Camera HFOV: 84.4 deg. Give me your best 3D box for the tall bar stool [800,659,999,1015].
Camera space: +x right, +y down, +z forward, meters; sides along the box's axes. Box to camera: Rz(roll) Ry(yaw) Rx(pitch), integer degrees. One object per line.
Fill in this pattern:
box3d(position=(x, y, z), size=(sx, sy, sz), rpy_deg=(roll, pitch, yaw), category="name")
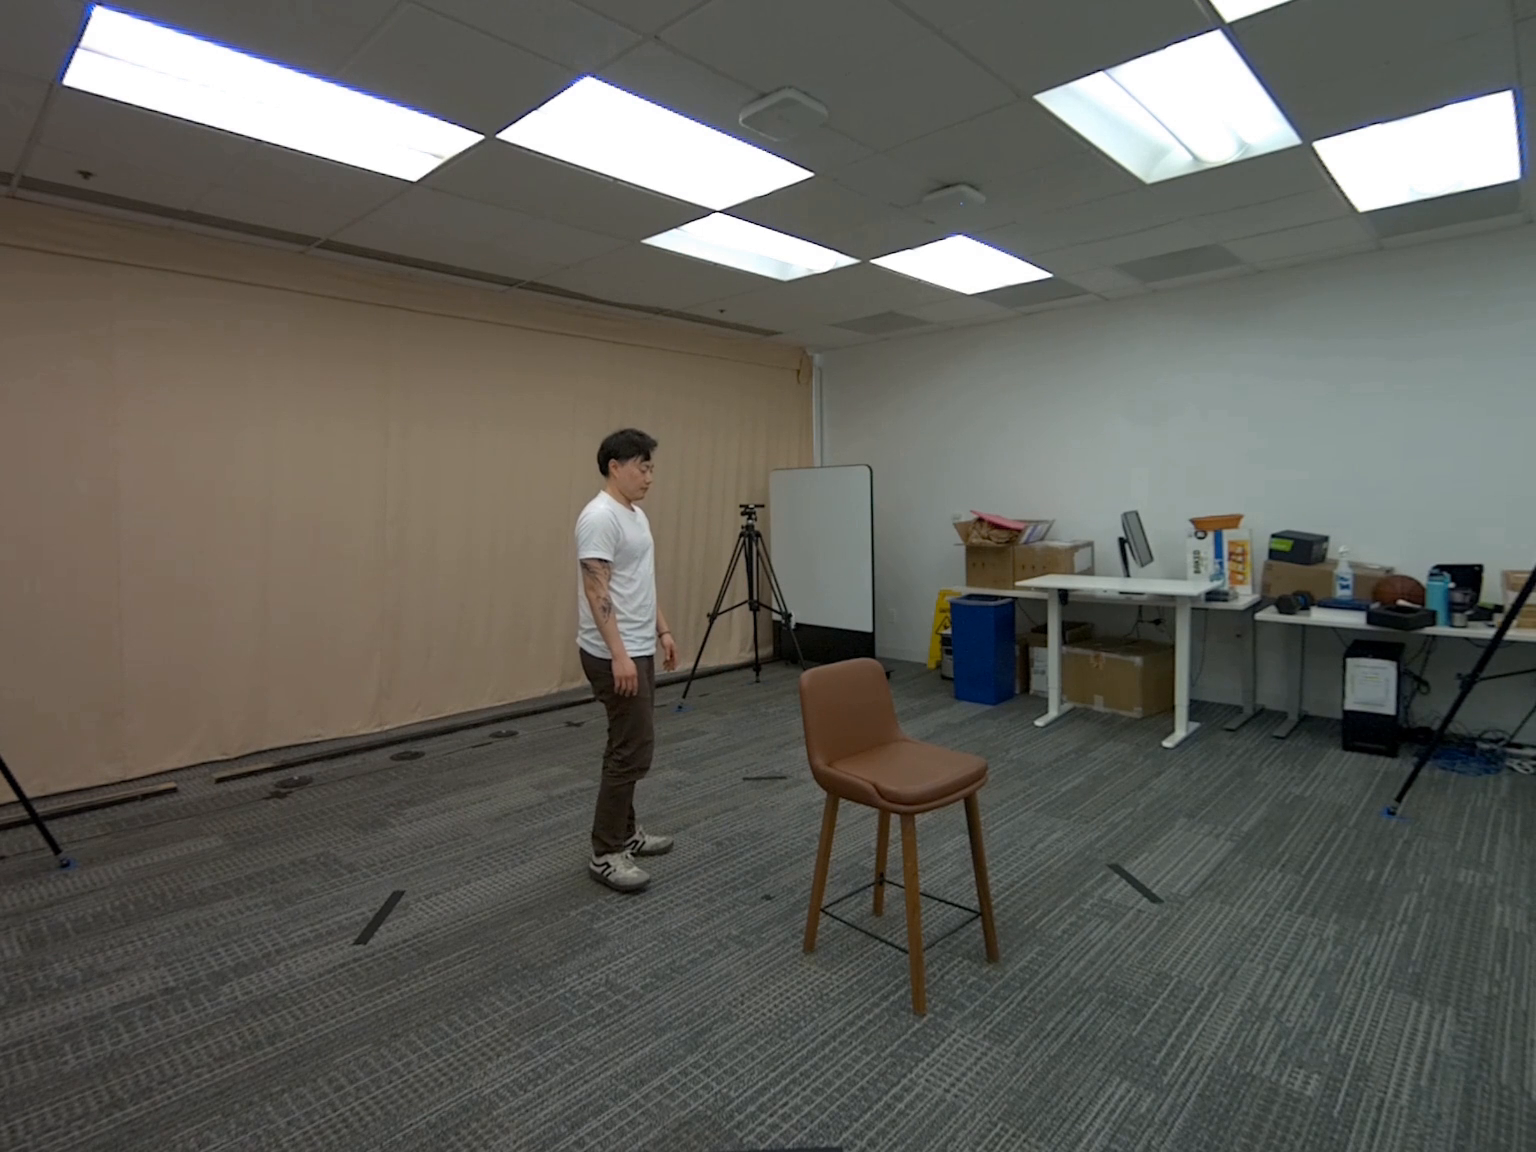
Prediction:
box3d(position=(0.393, 0.737, 2.557), size=(0.442, 0.888, 0.483), rpy_deg=(-4, 3, -43), category="tall bar stool")
